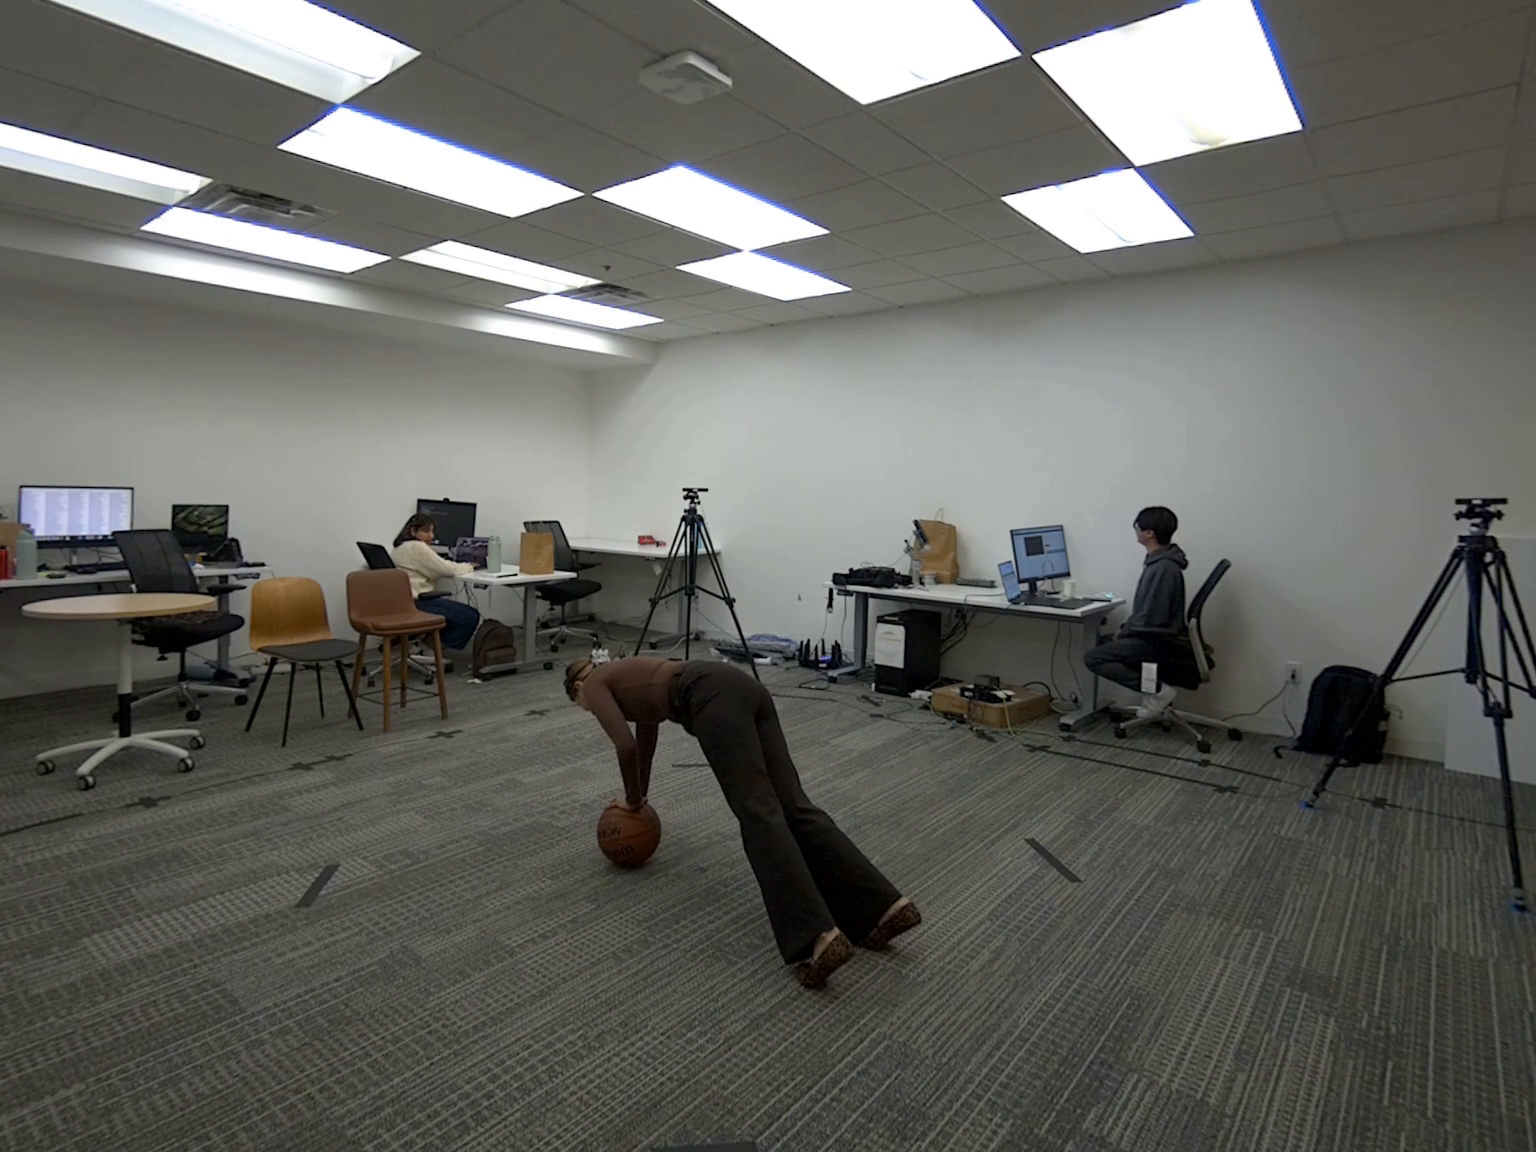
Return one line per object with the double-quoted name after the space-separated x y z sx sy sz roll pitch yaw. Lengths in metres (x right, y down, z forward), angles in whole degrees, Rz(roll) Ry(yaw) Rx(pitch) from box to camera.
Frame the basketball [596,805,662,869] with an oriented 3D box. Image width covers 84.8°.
-0.533 0.942 3.144 0.236 0.235 0.237 1 4 -2 "basketball"
